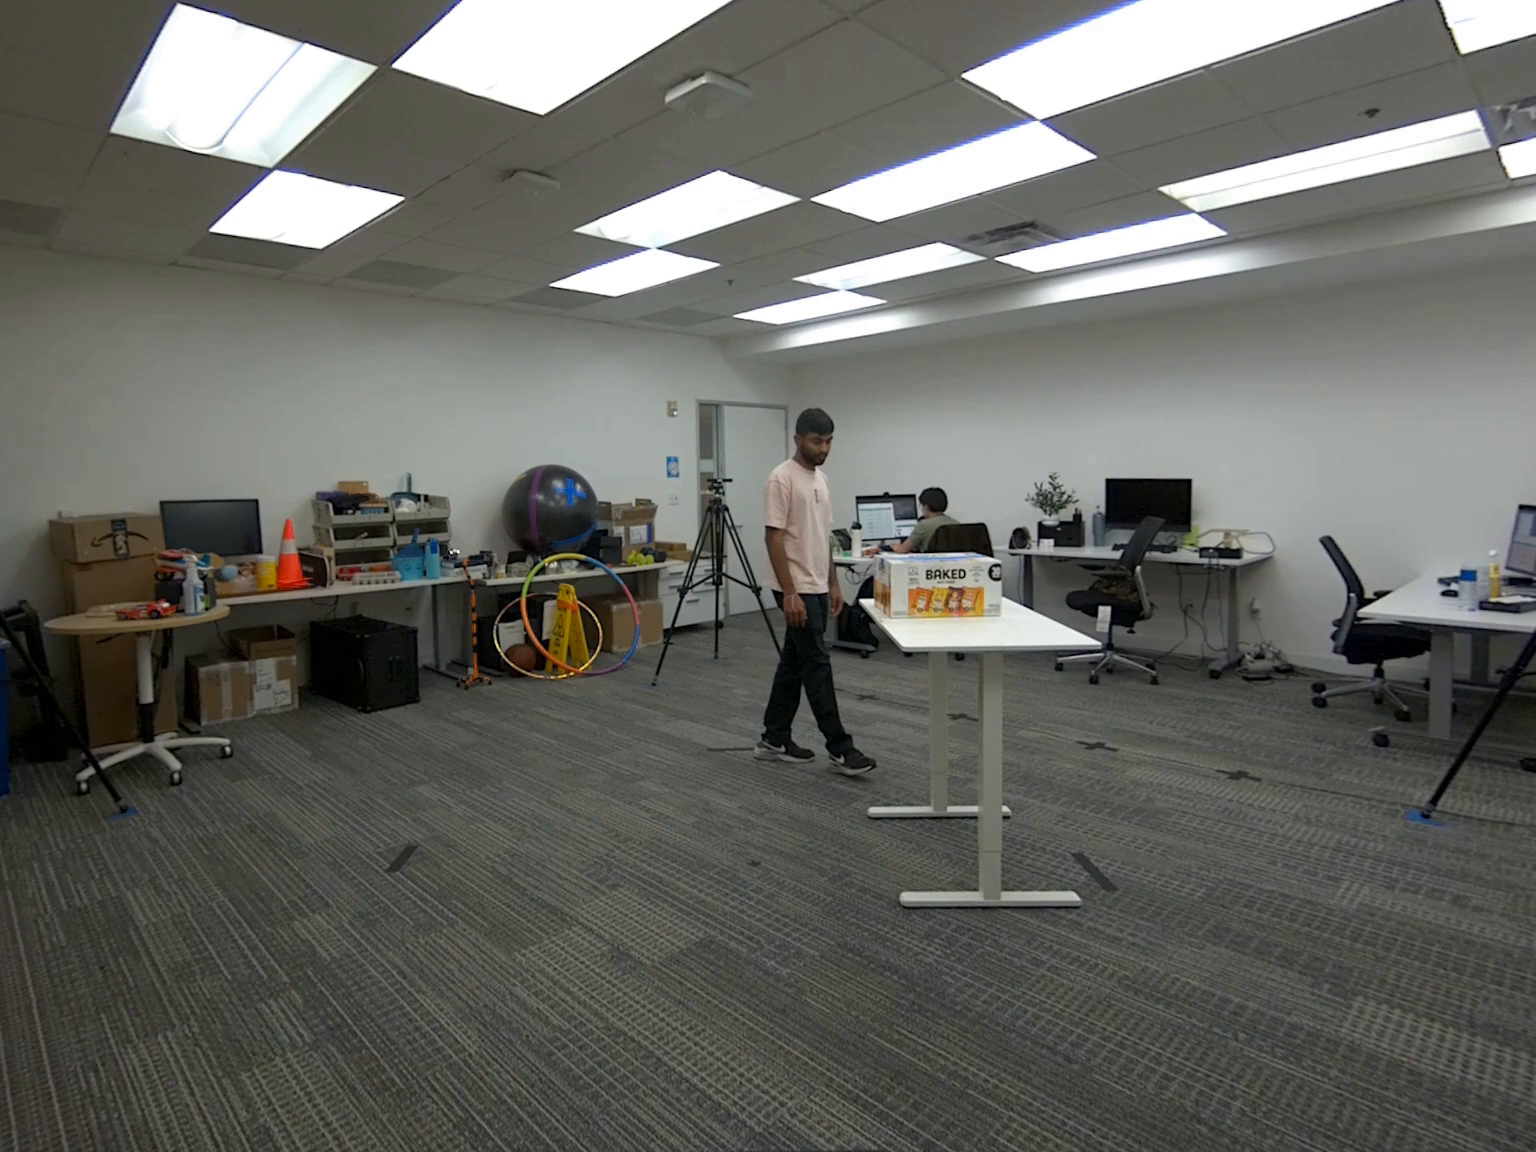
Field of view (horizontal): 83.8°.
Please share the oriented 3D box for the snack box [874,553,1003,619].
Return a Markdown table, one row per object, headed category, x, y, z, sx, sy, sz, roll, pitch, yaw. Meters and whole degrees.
| category | x | y | z | sx | sy | sz | roll | pitch | yaw |
| --- | --- | --- | --- | --- | --- | --- | --- | --- | --- |
| snack box | 0.635 | 0.031 | 3.266 | 0.404 | 0.205 | 0.343 | -1 | 6 | -2 |
